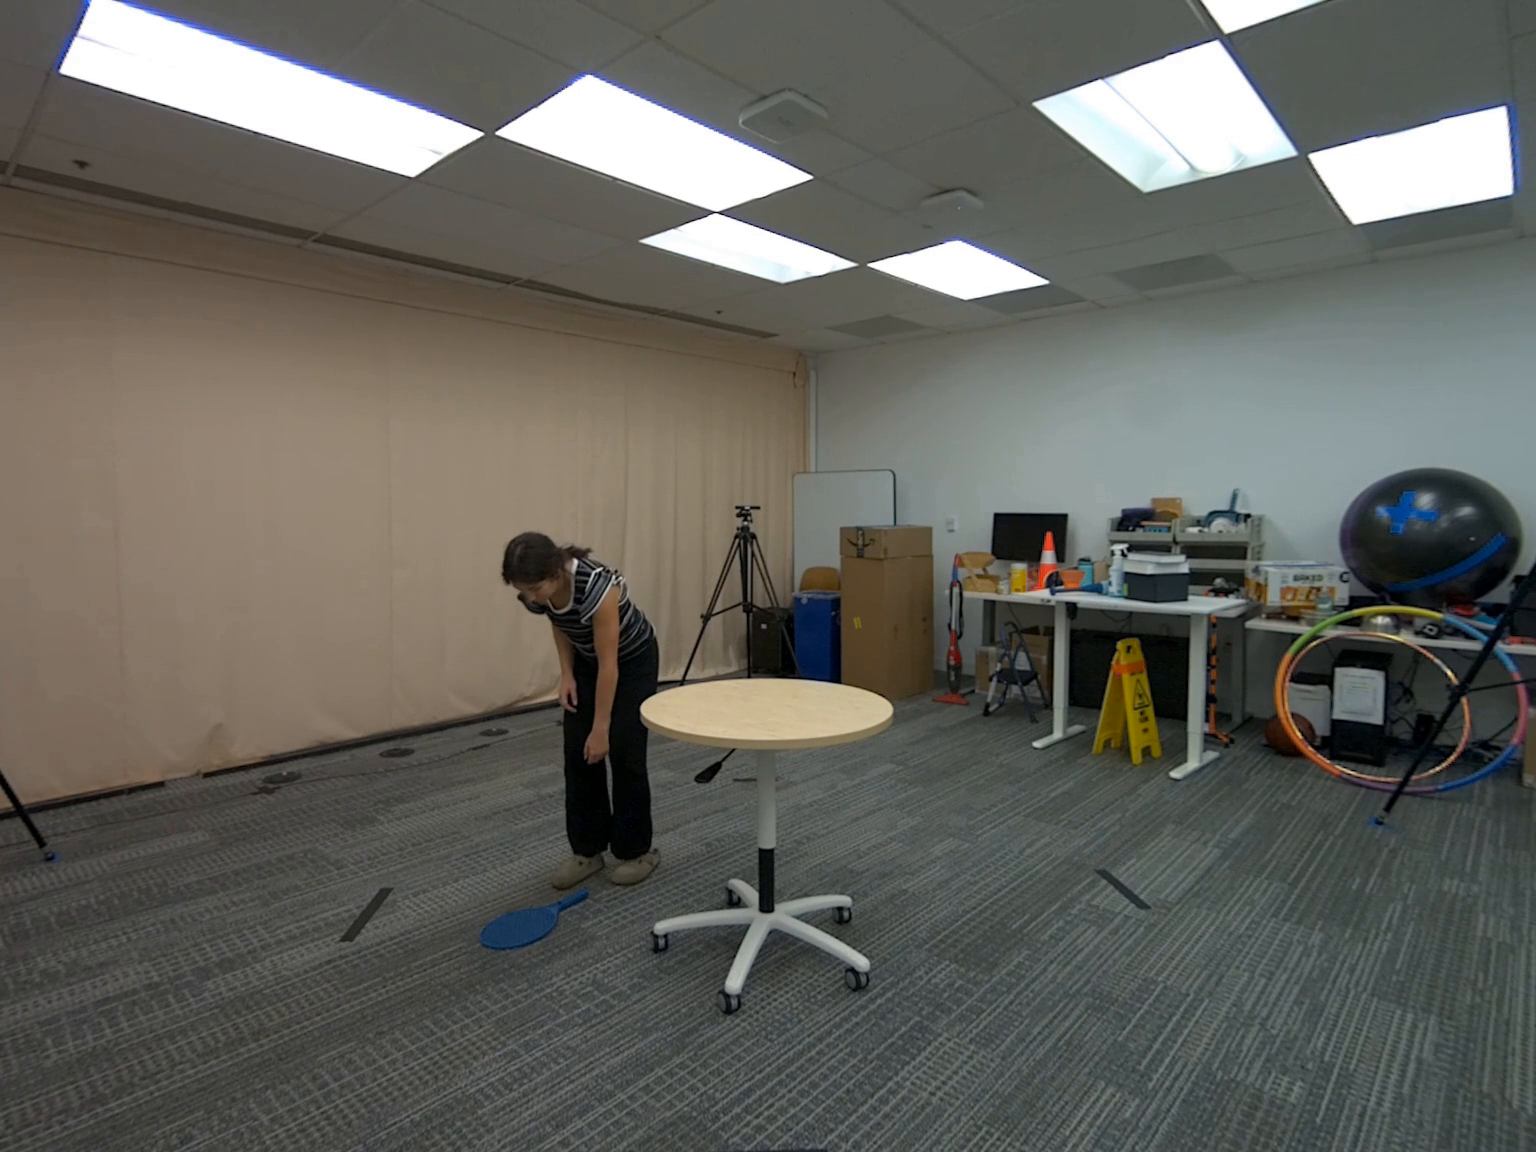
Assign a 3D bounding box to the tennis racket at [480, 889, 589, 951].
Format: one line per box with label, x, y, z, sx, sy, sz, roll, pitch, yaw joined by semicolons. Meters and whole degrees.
tennis racket;-0.775;1.144;2.840;0.220;0.031;0.421;2;7;35
